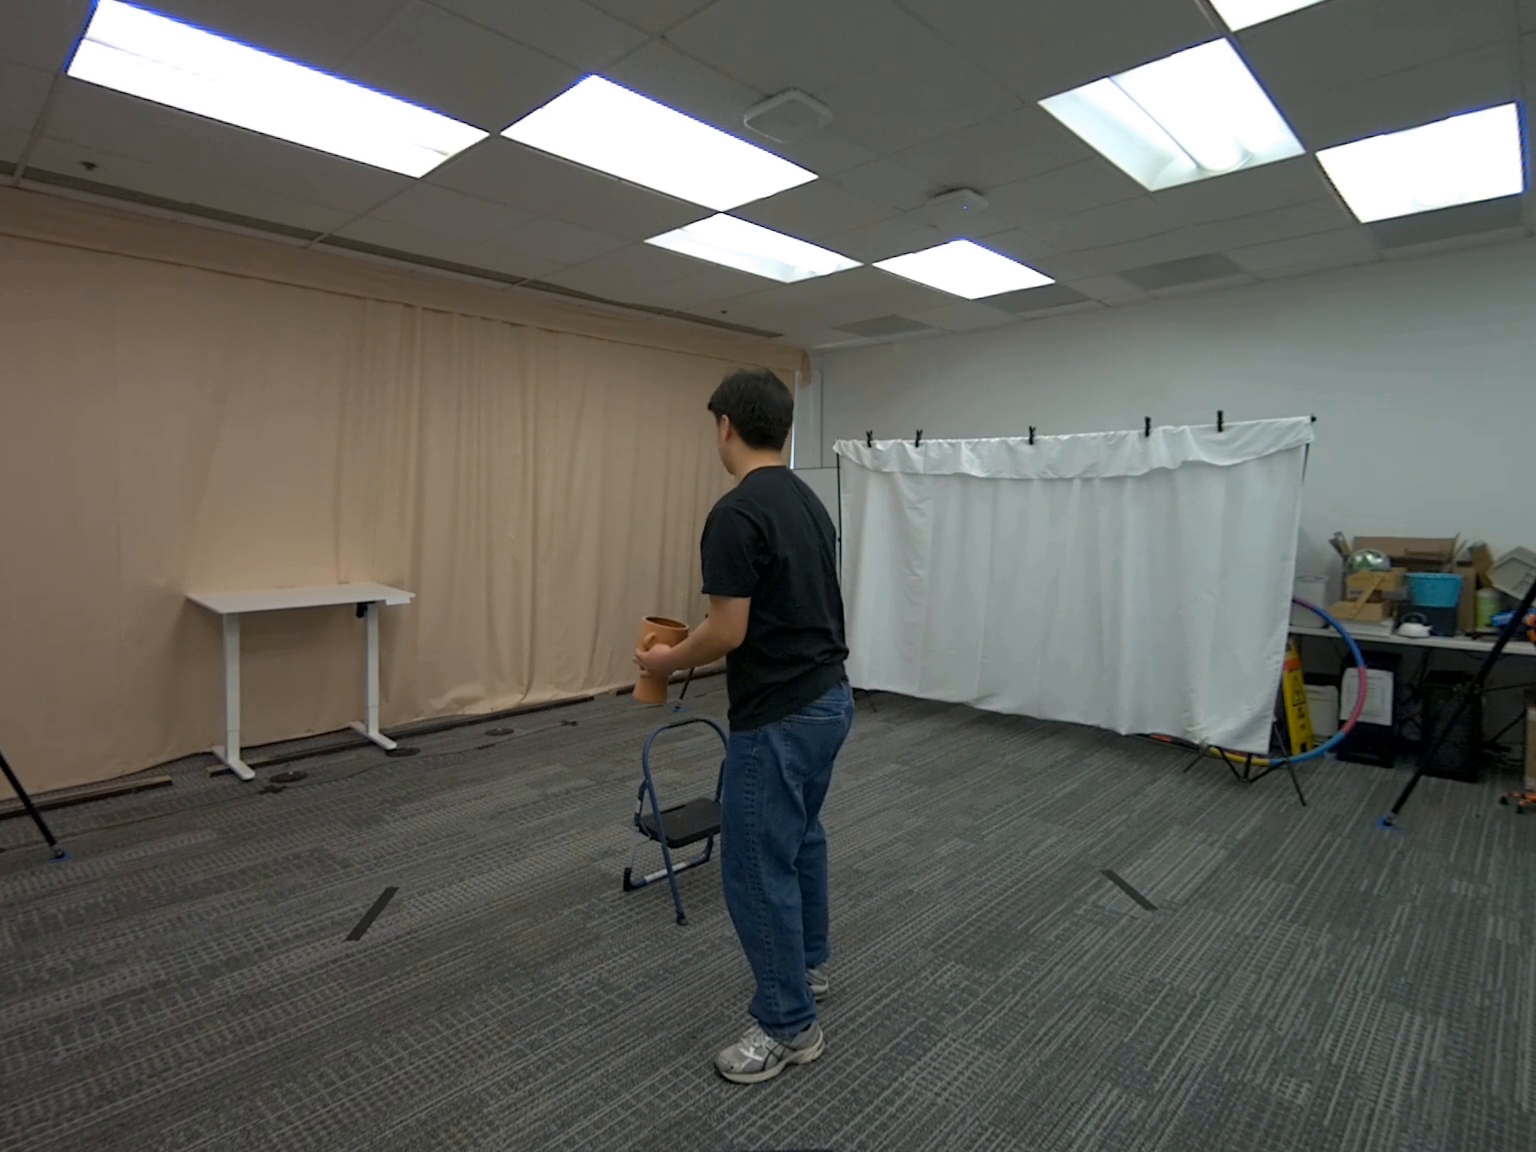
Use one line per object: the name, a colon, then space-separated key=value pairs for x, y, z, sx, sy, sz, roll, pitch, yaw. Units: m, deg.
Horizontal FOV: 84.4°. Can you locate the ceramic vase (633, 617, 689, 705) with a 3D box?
ceramic vase: x=-0.293 y=0.239 z=2.324 sx=0.154 sy=0.219 sz=0.139 roll=8 pitch=7 yaw=-27
